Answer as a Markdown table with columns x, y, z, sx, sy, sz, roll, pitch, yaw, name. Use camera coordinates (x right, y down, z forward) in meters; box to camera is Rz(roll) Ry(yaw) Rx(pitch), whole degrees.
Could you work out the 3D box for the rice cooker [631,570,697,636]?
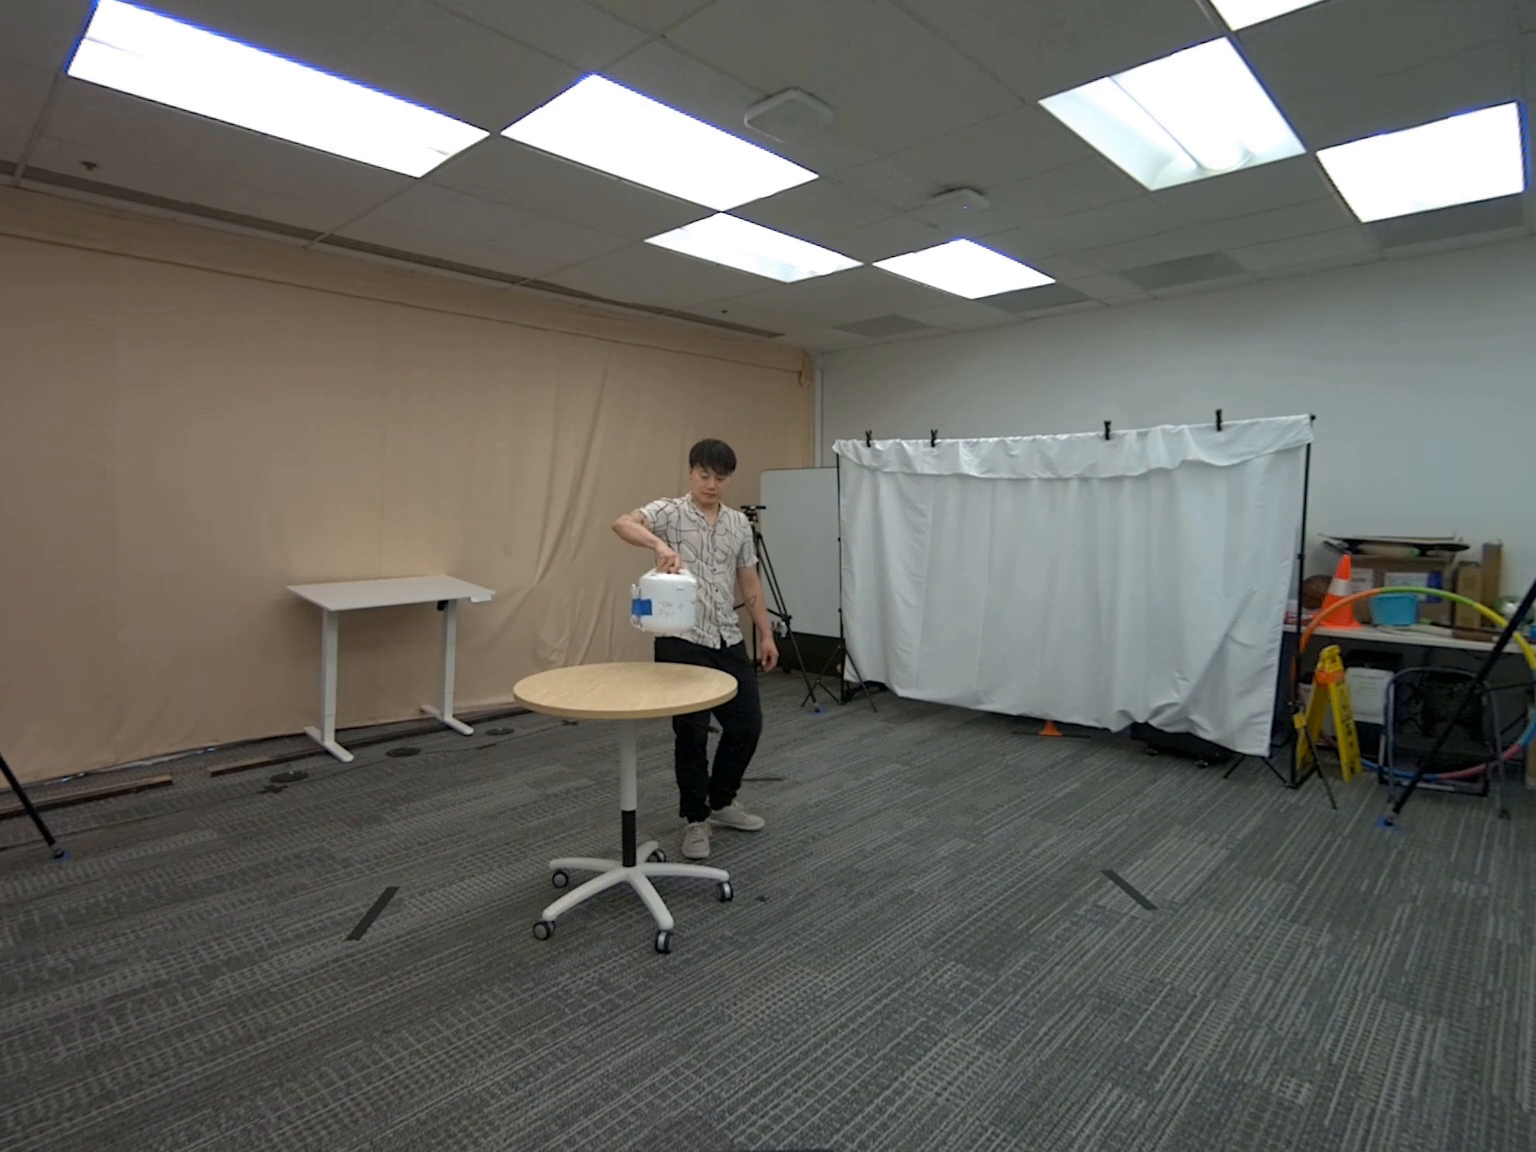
| x | y | z | sx | sy | sz | roll | pitch | yaw | name |
| --- | --- | --- | --- | --- | --- | --- | --- | --- | --- |
| -0.360 | 0.079 | 3.028 | 0.226 | 0.232 | 0.212 | 4 | 3 | 24 | rice cooker |
